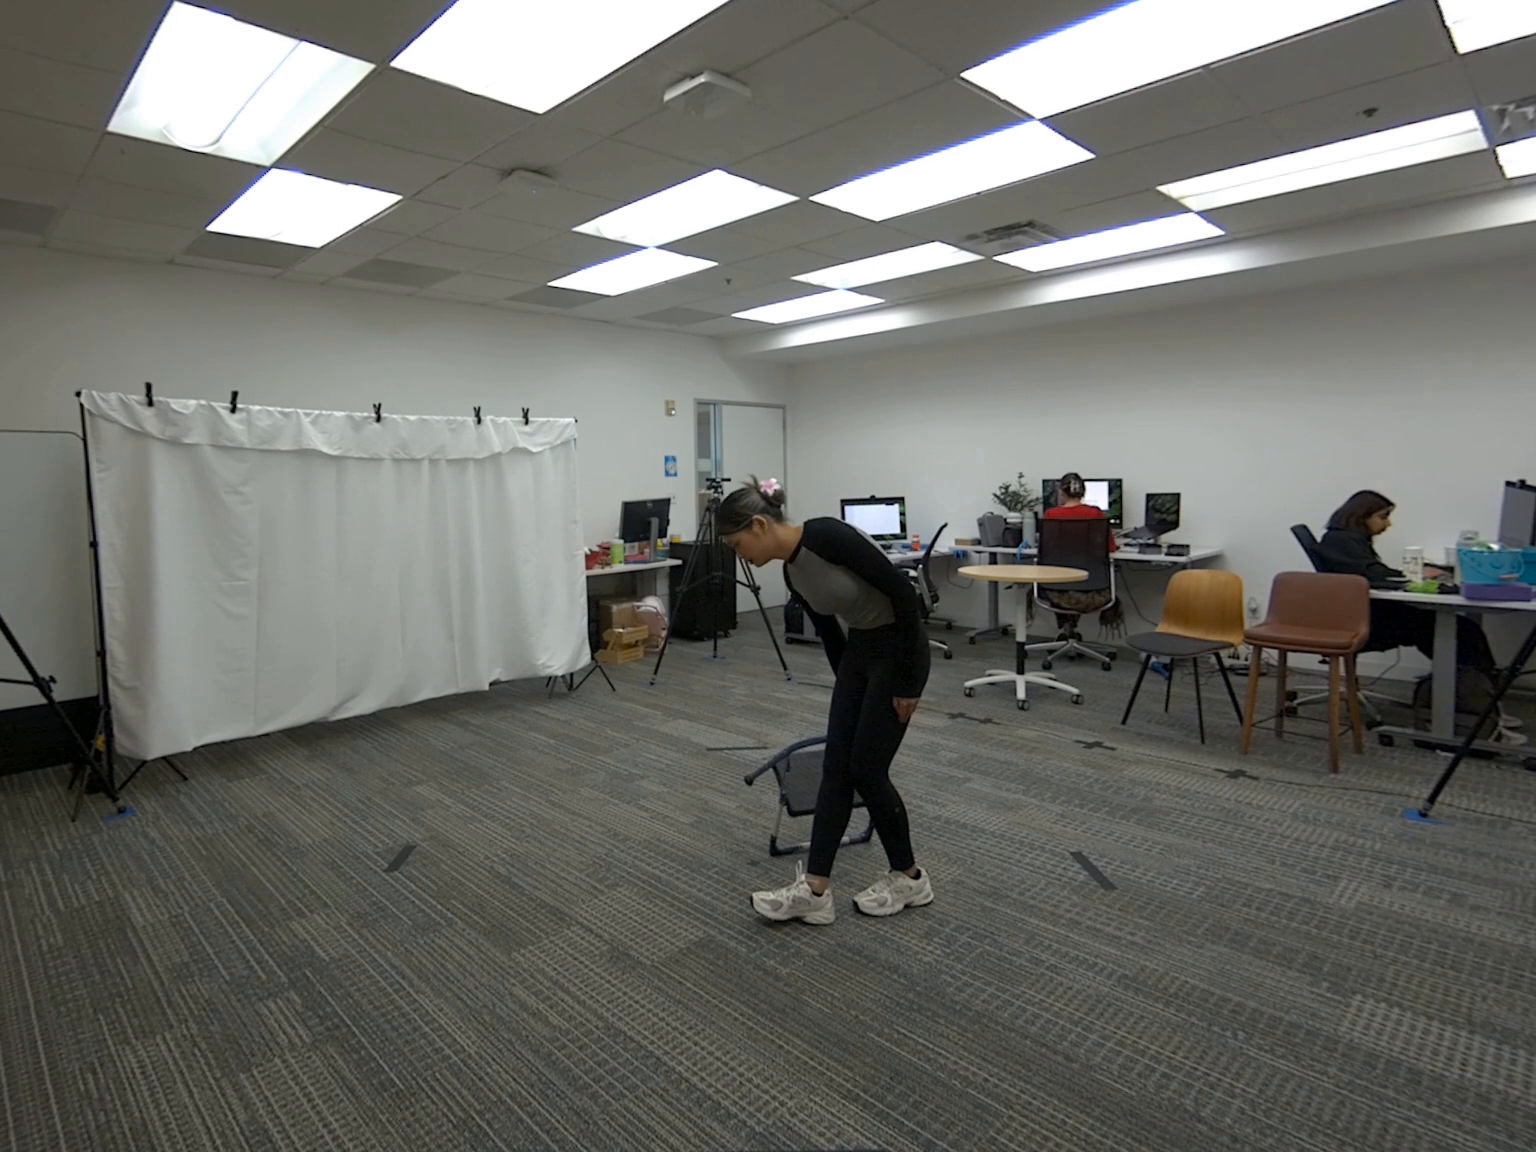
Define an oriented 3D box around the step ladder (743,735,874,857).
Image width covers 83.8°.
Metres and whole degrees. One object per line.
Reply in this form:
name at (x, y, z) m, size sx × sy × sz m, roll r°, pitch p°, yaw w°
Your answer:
step ladder at (0.215, 0.700, 3.145) m, size 0.423 × 0.594 × 0.362 m, roll -3°, pitch 45°, yaw -20°
